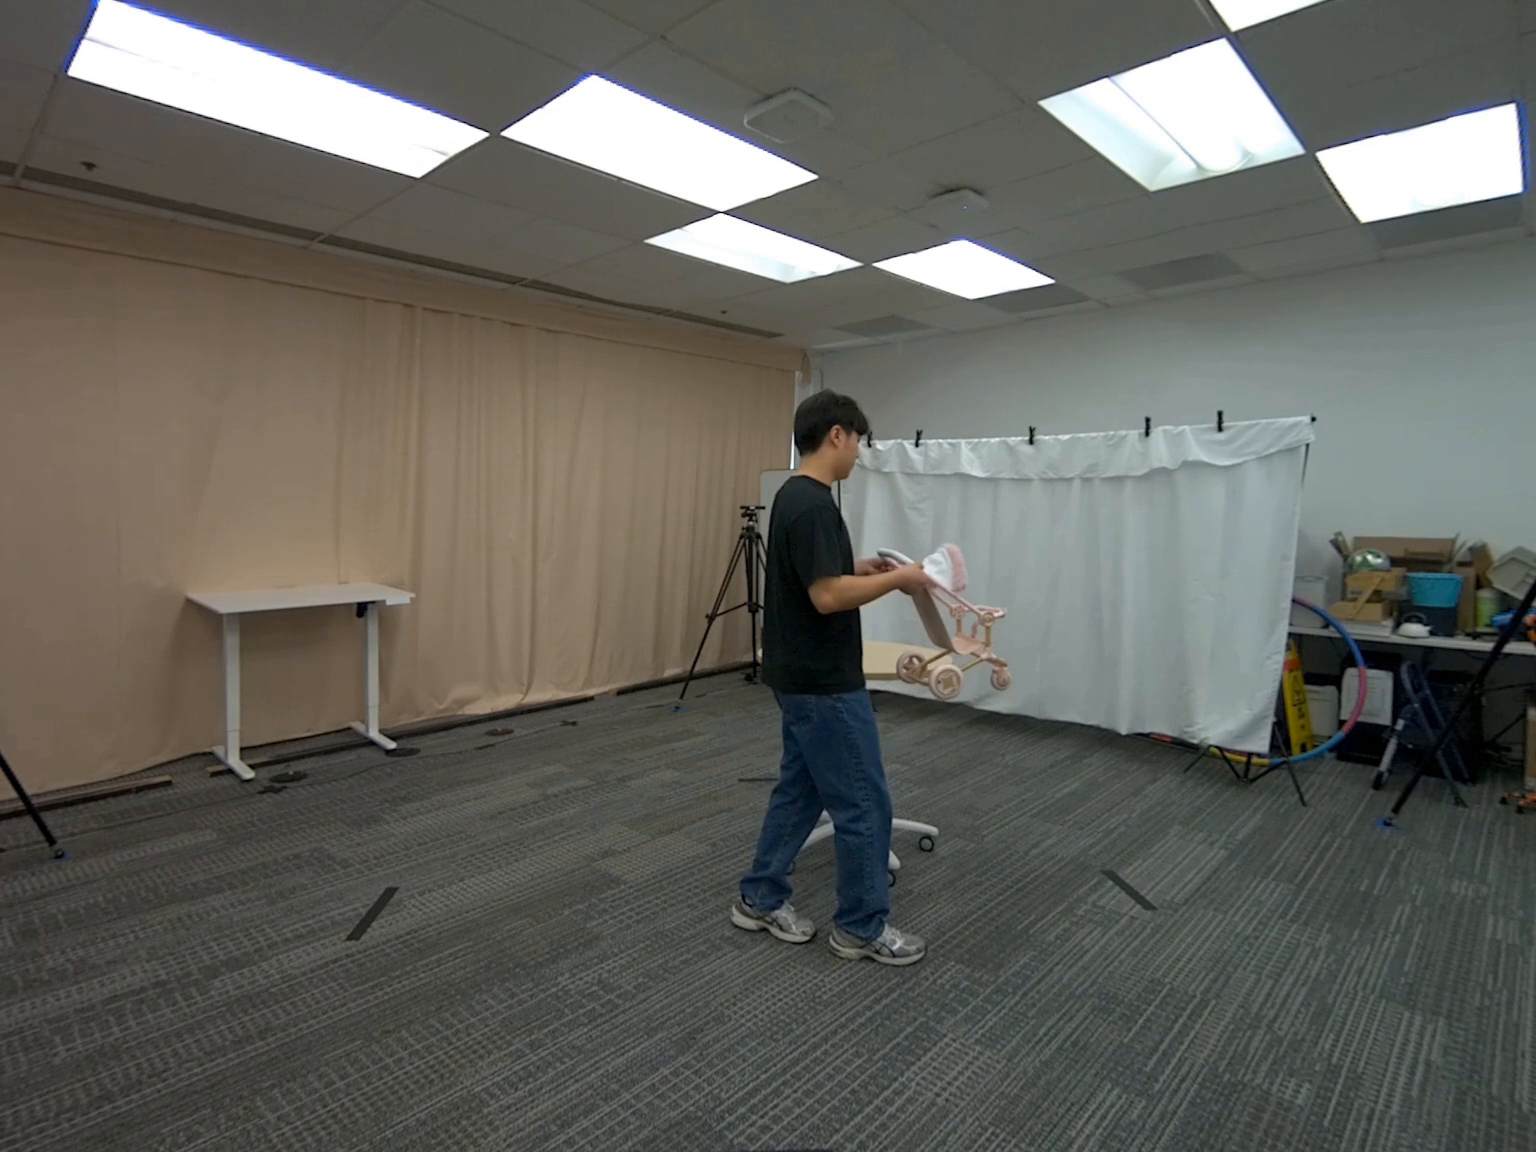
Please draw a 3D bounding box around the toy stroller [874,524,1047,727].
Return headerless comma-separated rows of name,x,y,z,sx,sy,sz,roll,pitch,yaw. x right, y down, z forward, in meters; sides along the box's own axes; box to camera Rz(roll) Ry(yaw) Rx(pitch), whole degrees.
toy stroller,0.594,0.138,2.663,0.339,0.533,0.284,-13,5,-7
